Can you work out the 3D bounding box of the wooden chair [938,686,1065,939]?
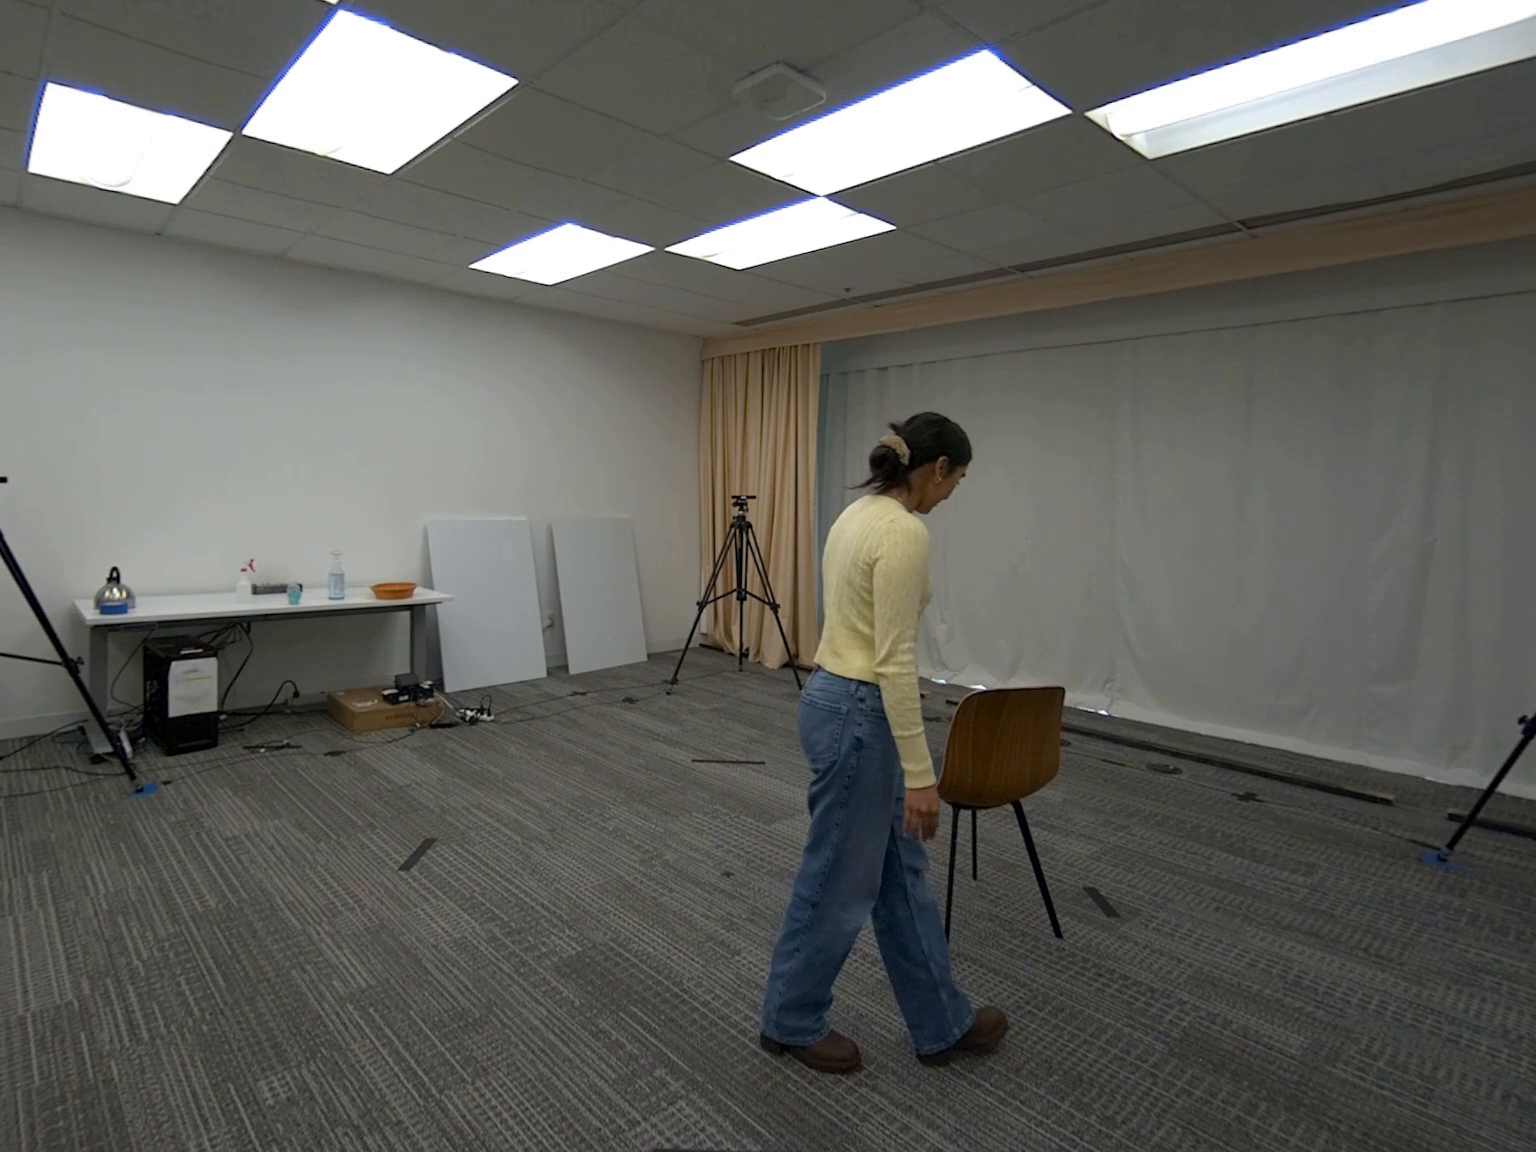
[{"bbox_3d":[0.654,0.721,2.817,0.470,0.872,0.534,0,8,-22],"label":"wooden chair"}]
